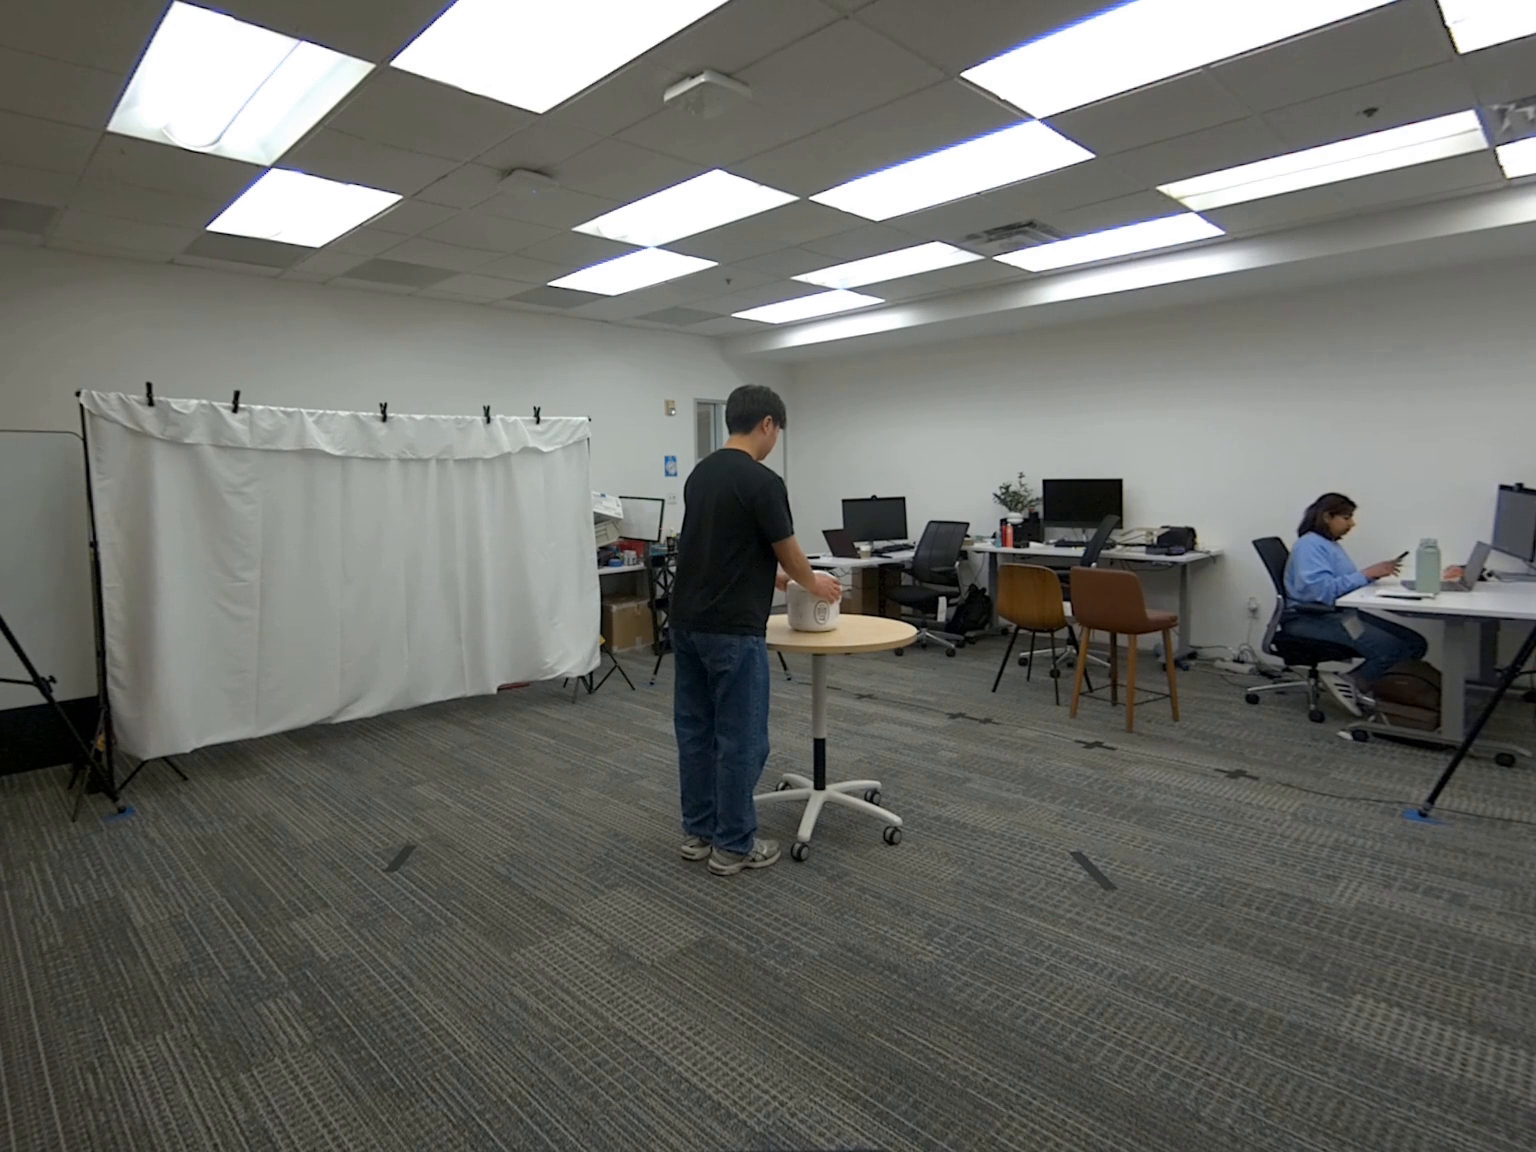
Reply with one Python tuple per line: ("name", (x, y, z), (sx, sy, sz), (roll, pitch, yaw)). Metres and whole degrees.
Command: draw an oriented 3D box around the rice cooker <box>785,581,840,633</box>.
("rice cooker", (0.184, 0.094, 3.385), (0.218, 0.232, 0.221), (-2, 5, -13))
